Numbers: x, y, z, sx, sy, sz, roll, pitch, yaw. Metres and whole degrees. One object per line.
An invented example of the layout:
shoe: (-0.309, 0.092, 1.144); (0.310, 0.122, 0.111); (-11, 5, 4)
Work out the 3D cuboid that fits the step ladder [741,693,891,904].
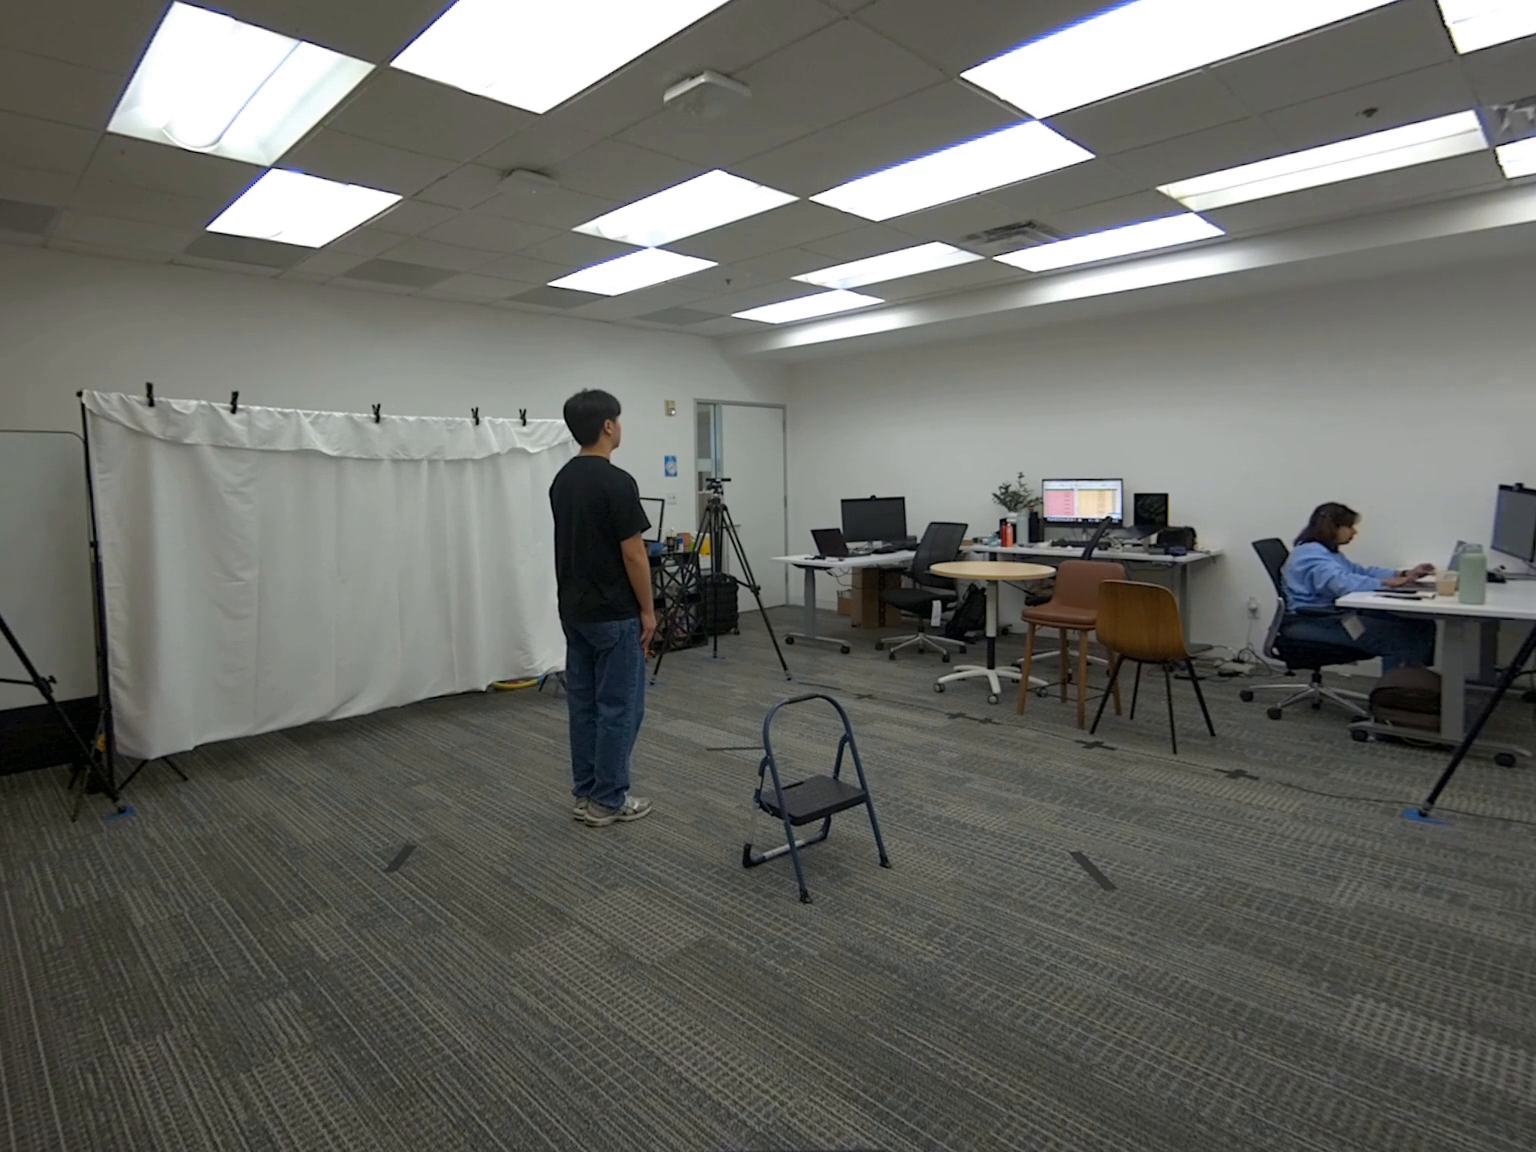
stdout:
step ladder: (0.170, 0.739, 3.048); (0.419, 0.604, 0.360); (-4, 5, -40)
